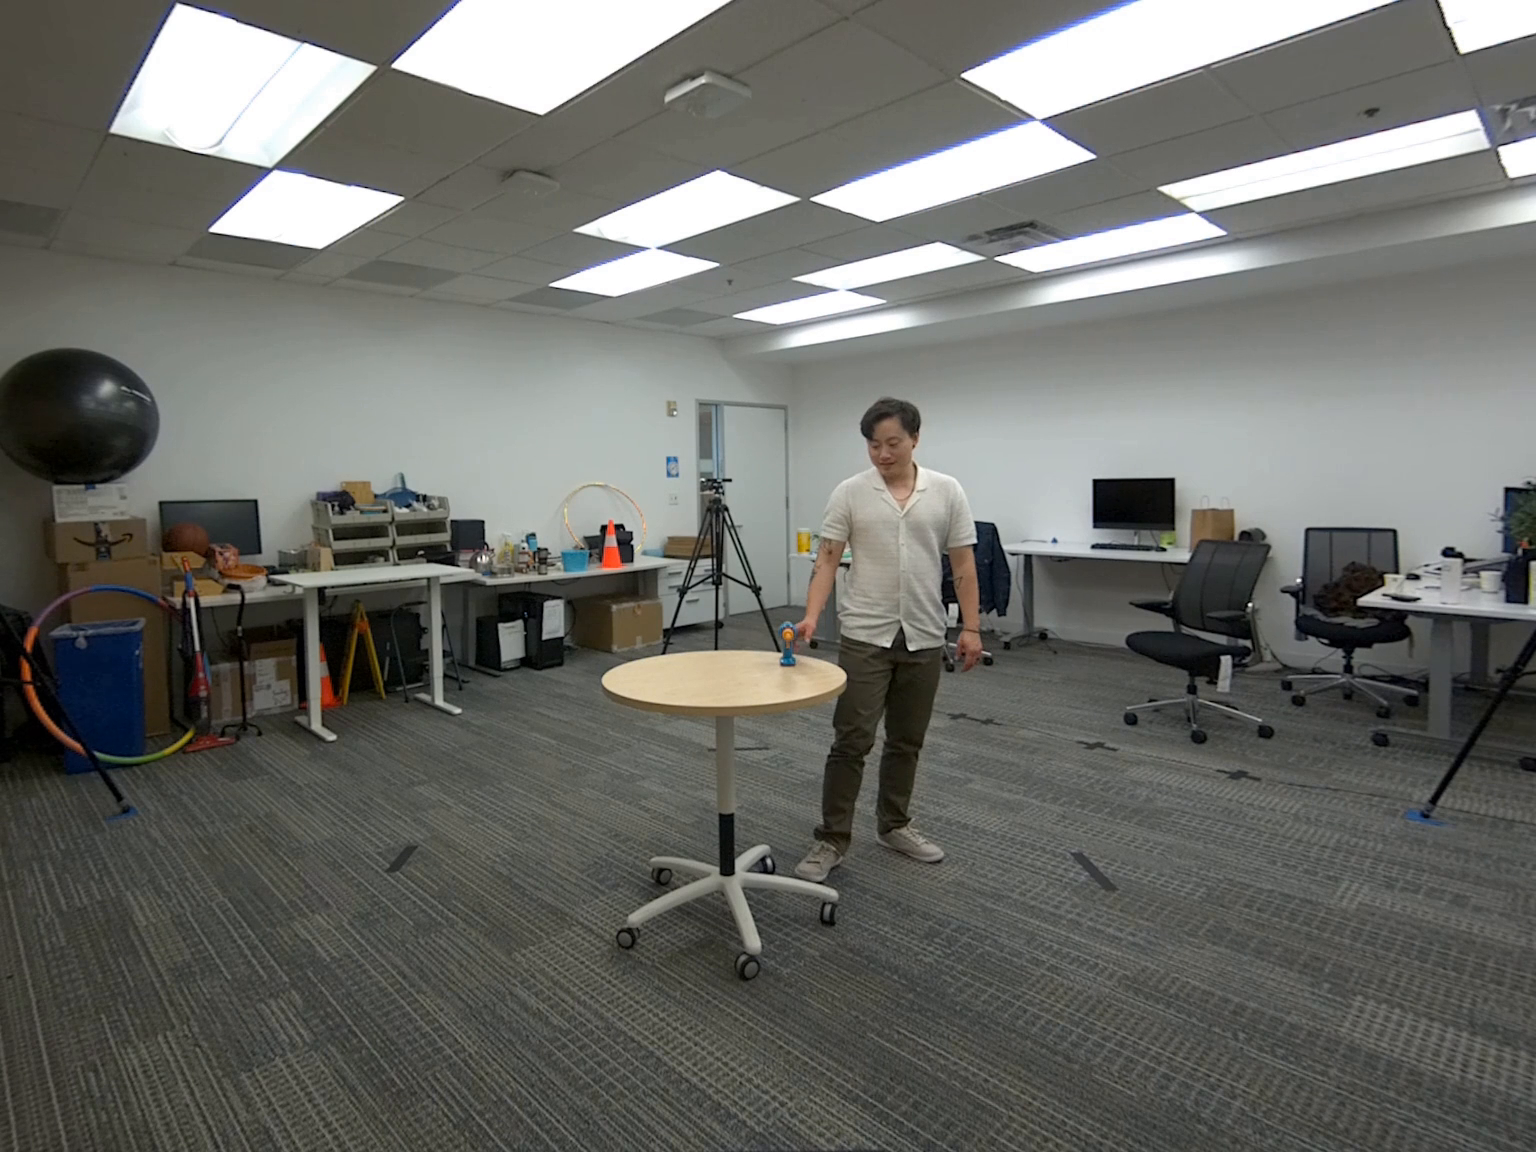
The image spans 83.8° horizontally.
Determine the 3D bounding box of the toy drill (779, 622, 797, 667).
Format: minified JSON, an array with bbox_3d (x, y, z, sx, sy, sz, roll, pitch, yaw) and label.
[{"bbox_3d":[0.065,0.223,2.777,0.061,0.145,0.171,0,6,-1],"label":"toy drill"}]
